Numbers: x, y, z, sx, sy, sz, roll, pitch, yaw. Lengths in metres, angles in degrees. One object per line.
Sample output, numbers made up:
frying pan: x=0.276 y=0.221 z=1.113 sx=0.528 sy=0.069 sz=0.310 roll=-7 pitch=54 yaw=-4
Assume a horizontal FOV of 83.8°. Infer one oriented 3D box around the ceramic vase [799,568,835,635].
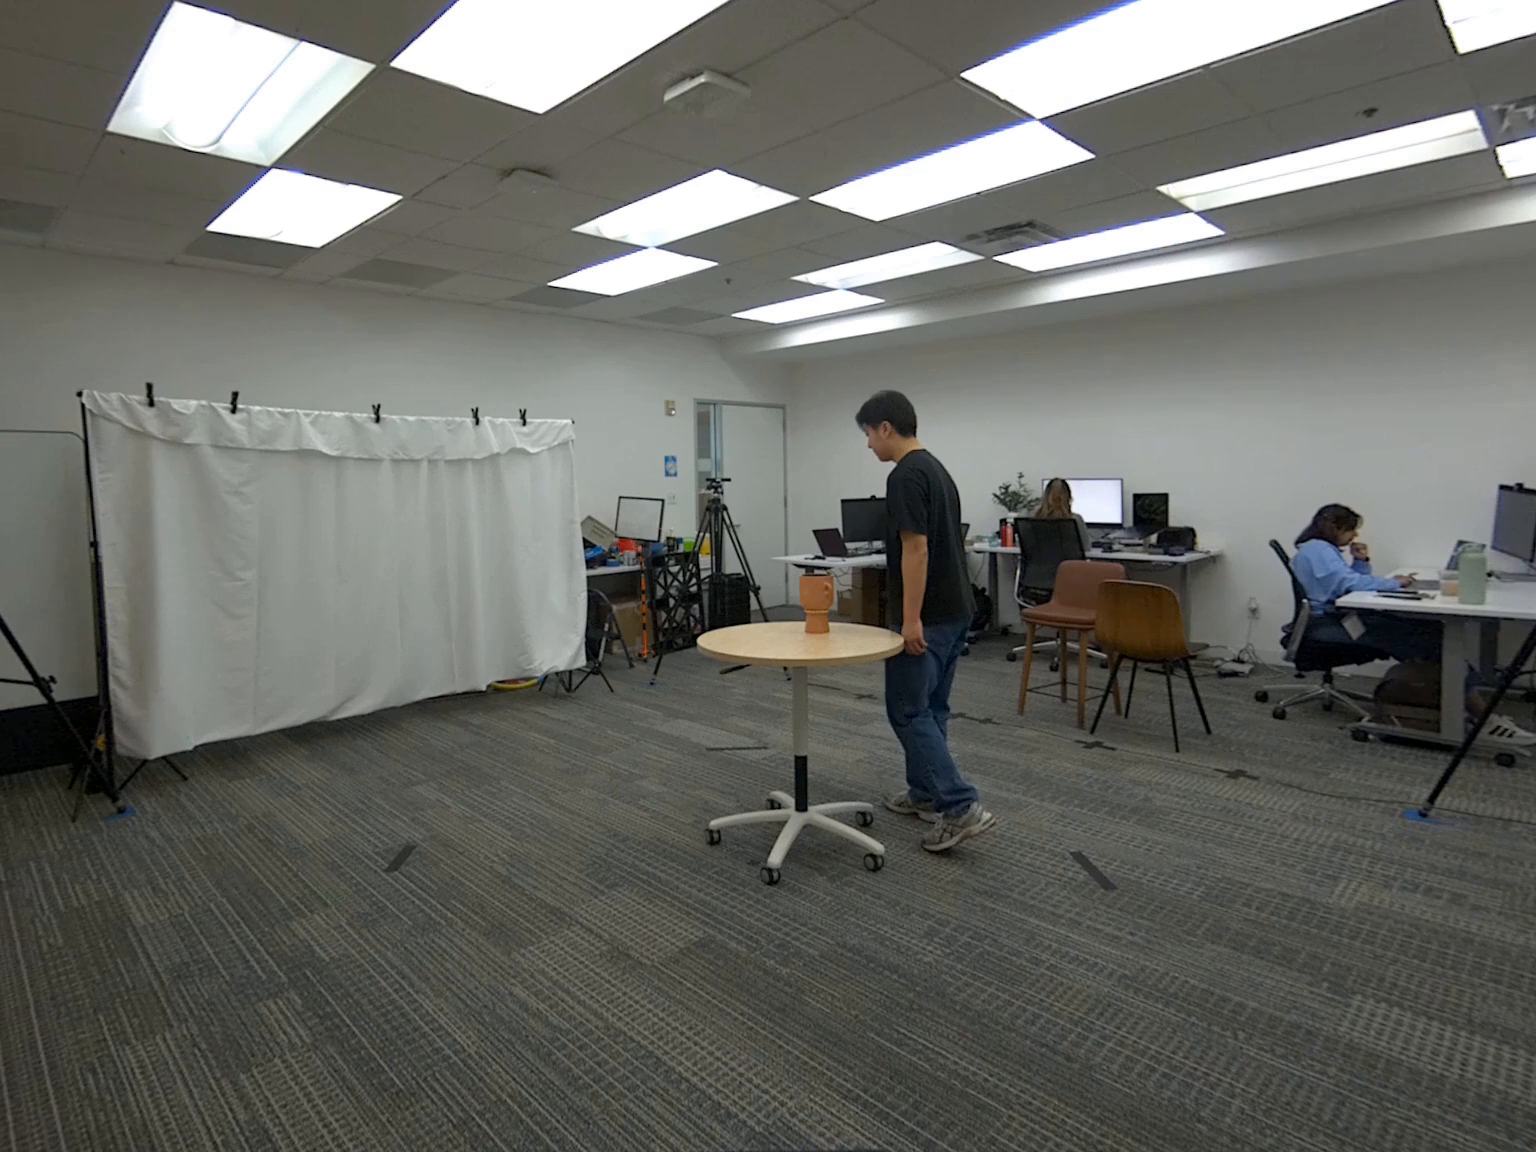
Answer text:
ceramic vase: x=0.196 y=0.106 z=3.340 sx=0.136 sy=0.219 sz=0.158 roll=0 pitch=3 yaw=9
